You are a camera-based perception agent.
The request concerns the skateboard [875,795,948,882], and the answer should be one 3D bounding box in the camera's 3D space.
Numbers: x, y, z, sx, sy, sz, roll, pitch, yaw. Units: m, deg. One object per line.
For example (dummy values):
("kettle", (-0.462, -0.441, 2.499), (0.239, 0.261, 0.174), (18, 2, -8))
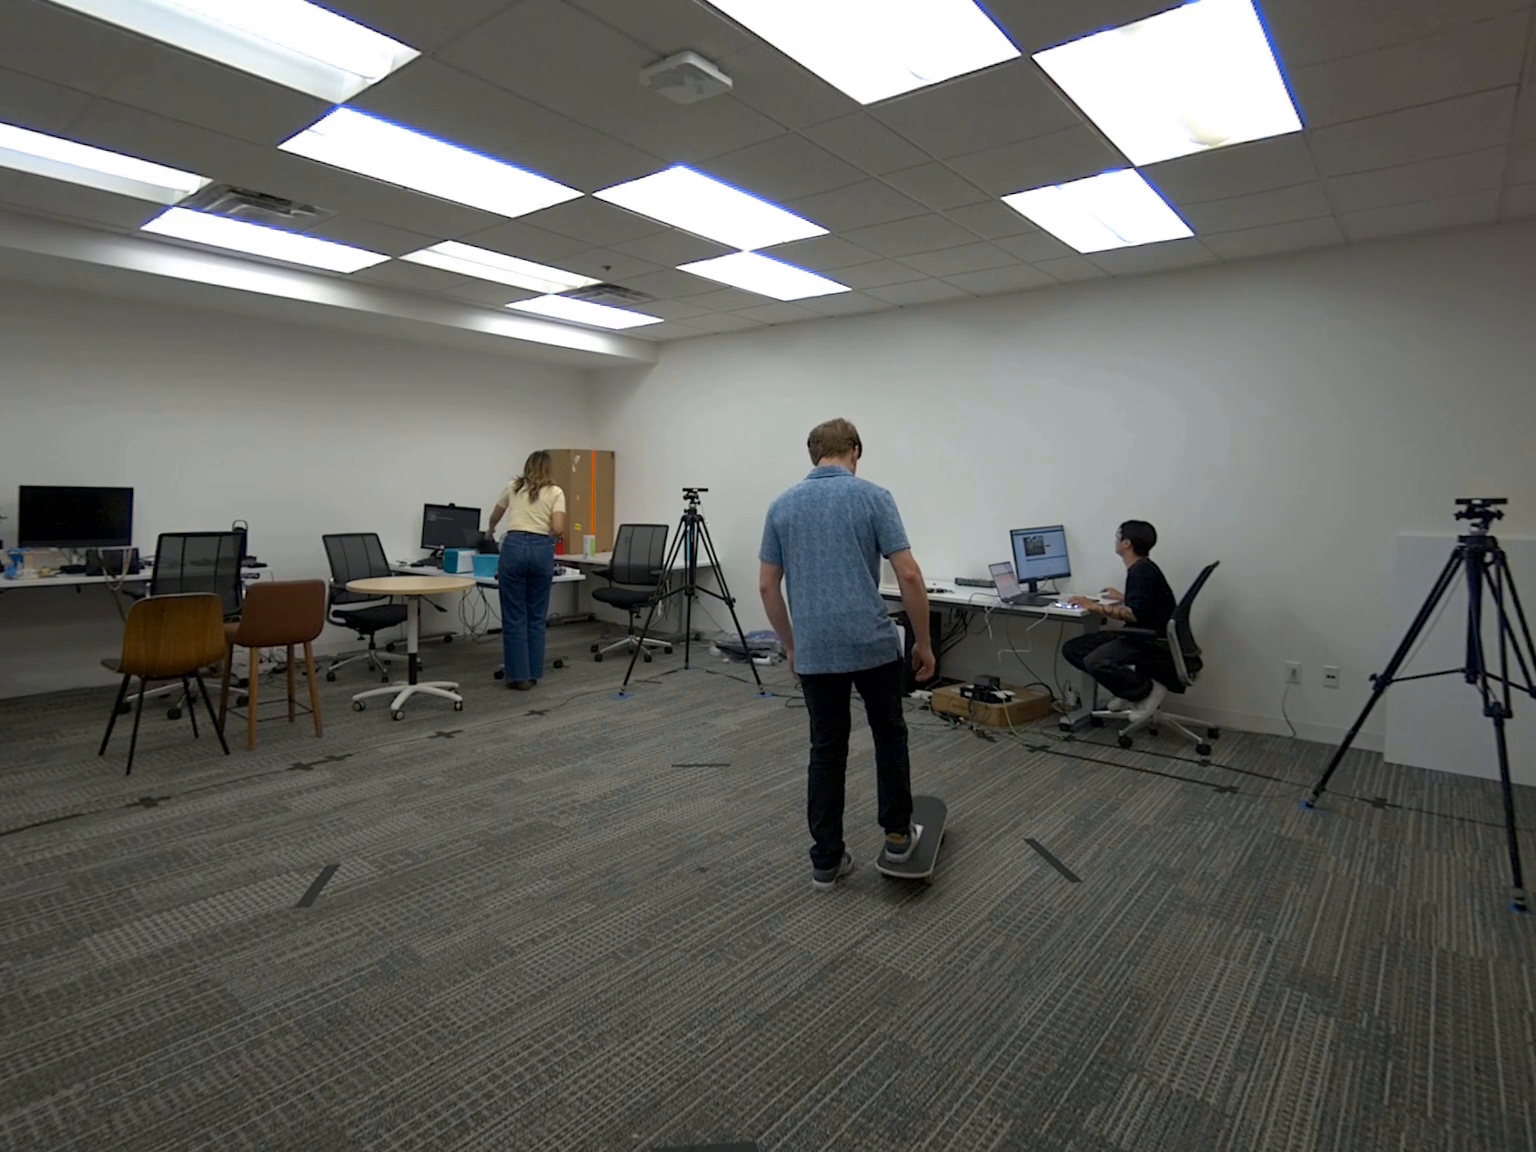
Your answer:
("skateboard", (0.546, 1.009, 3.248), (0.197, 0.110, 0.772), (1, 6, 18))
